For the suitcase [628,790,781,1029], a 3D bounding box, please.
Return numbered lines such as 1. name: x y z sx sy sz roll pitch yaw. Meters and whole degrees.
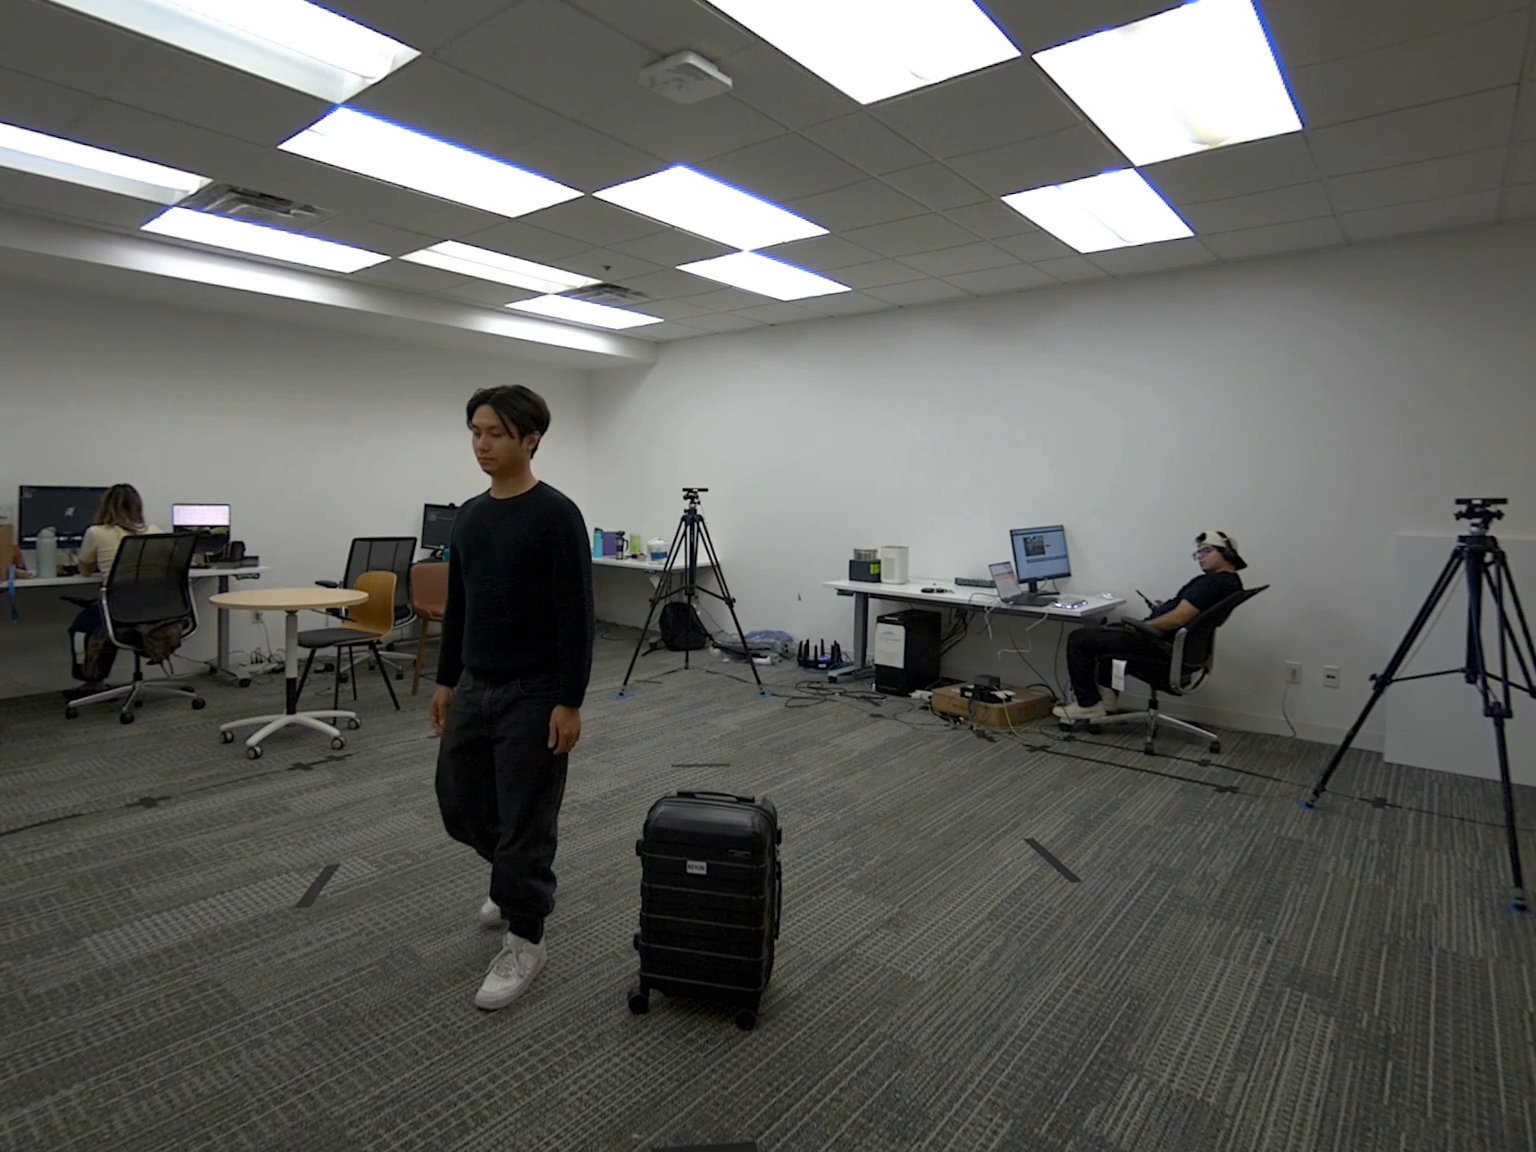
1. suitcase: -0.168 0.880 2.317 0.380 0.548 0.246 3 3 11
